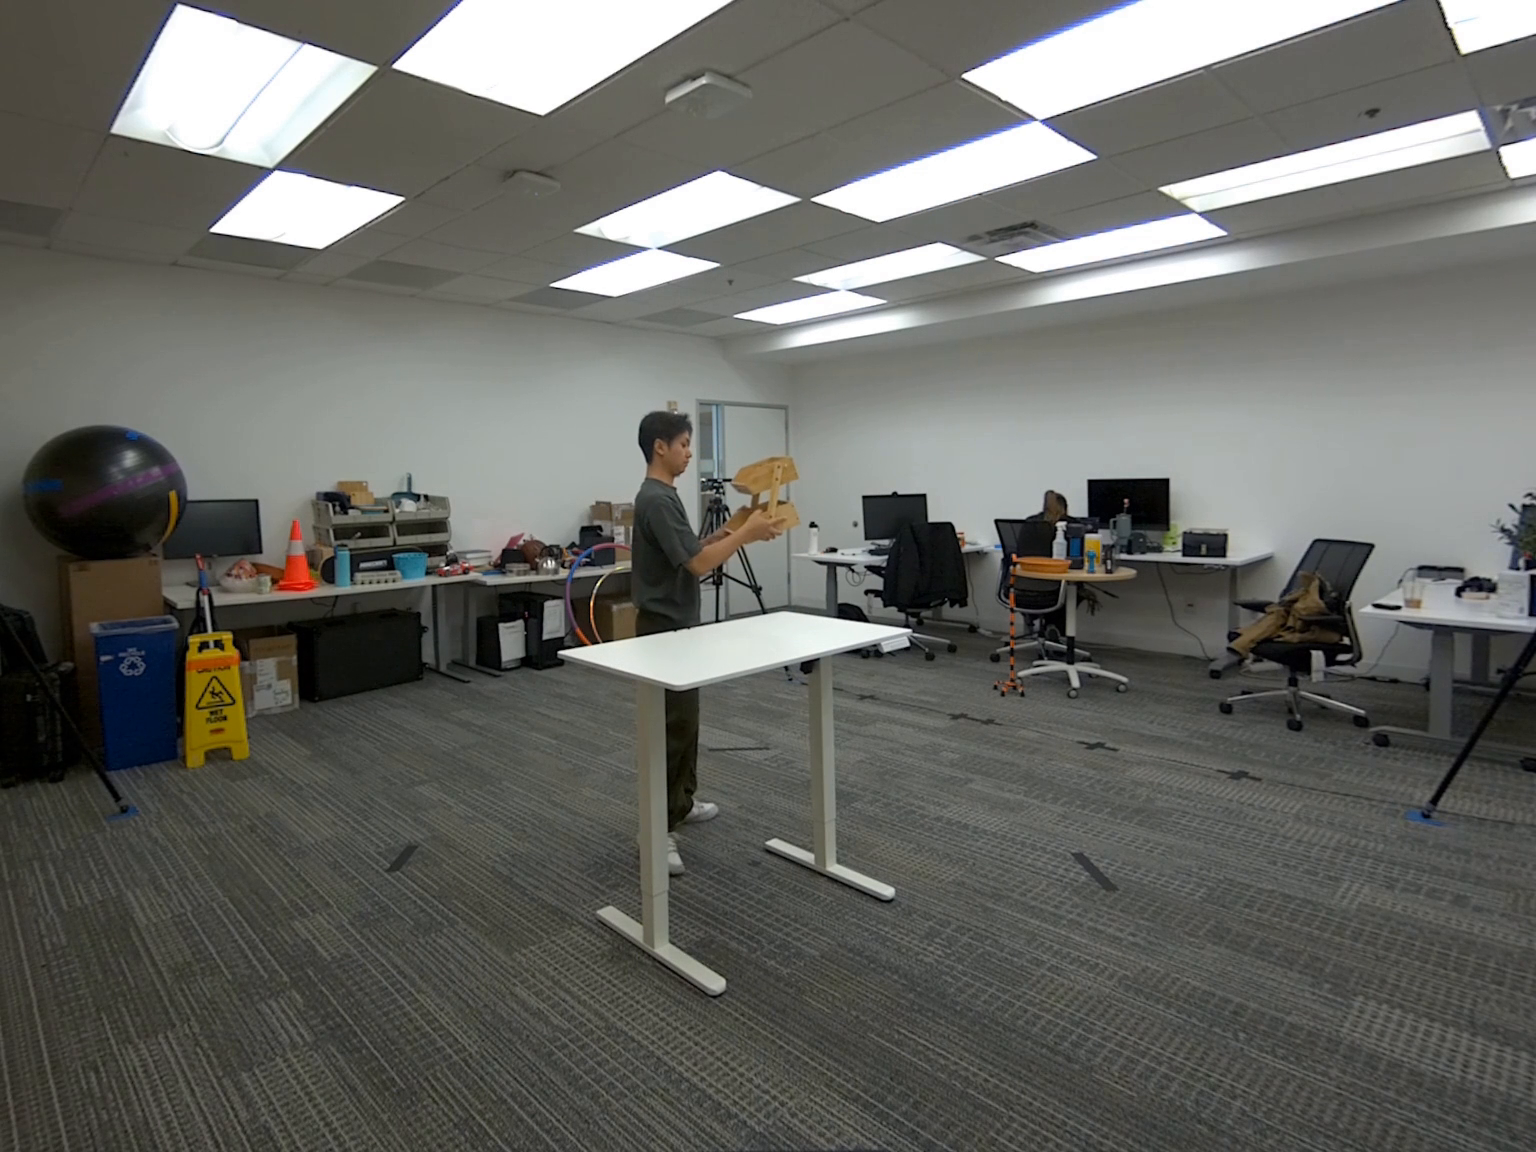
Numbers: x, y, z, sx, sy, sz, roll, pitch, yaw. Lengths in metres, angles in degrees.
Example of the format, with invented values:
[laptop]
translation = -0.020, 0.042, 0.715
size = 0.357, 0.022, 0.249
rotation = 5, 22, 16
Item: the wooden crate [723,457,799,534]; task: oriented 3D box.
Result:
[wooden crate]
translation = -0.048, -0.311, 3.412
size = 0.300, 0.271, 0.329
rotation = -20, 9, -8
